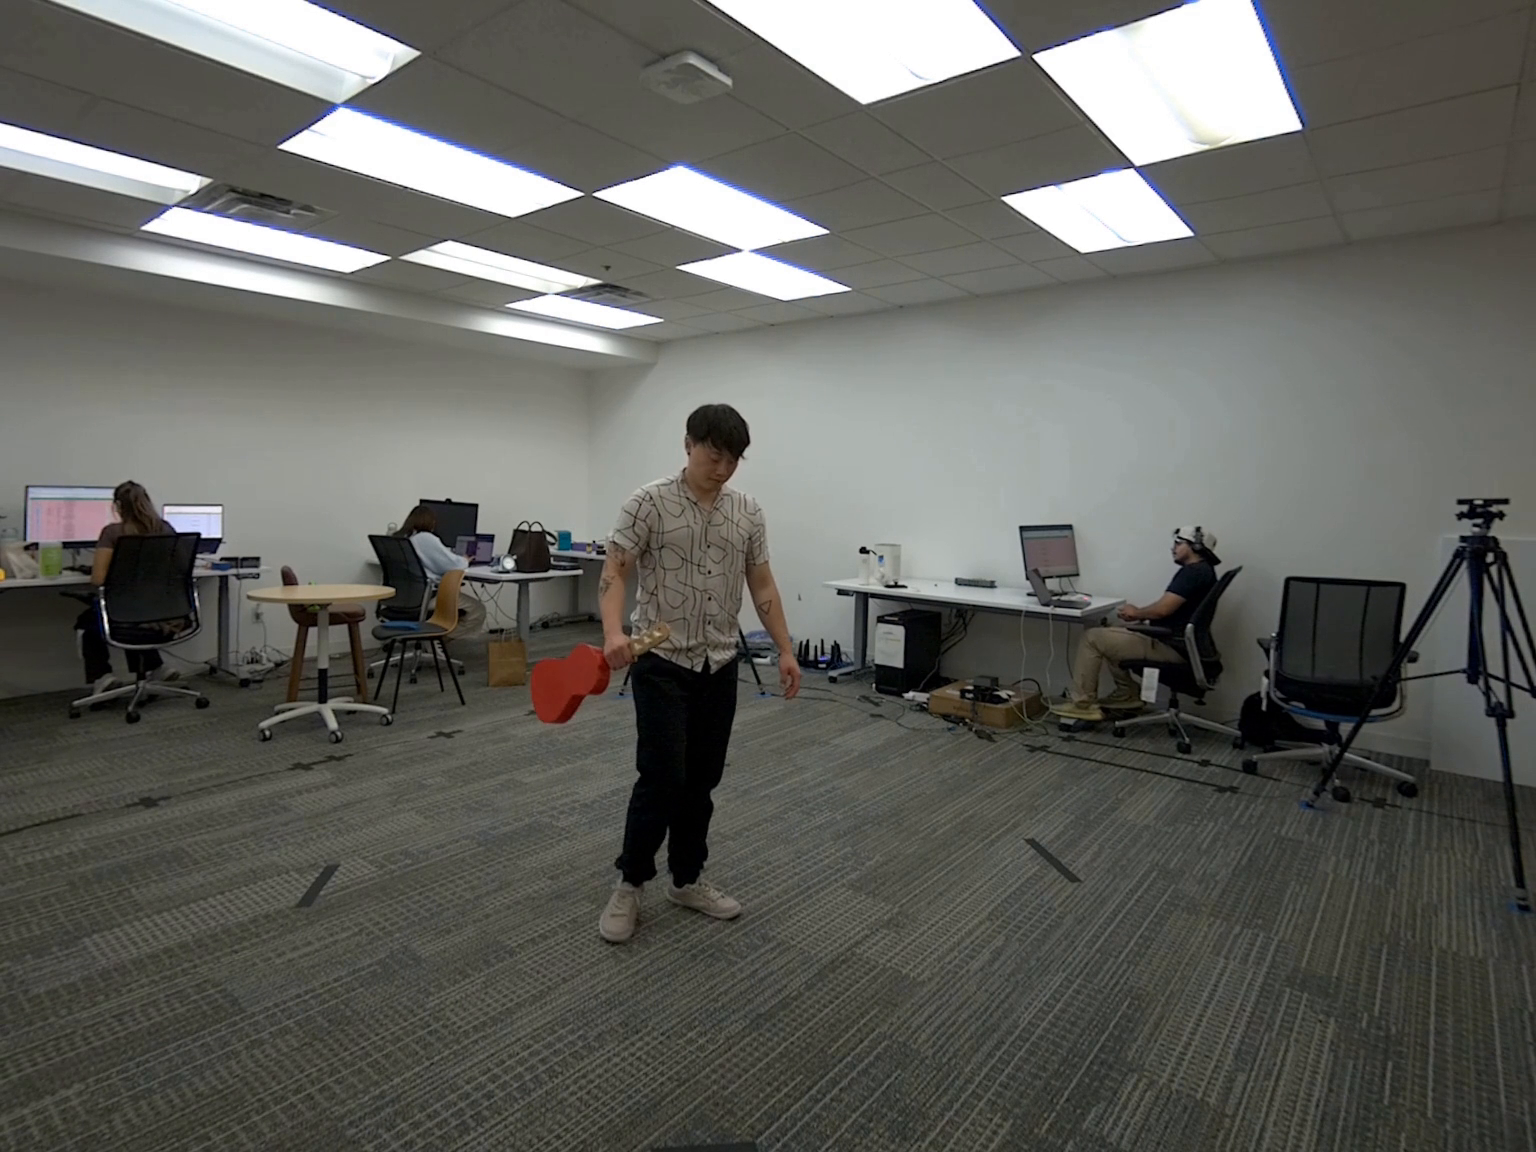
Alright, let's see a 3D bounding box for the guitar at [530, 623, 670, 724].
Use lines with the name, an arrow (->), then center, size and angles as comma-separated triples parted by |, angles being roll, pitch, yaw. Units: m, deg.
guitar -> -0.519, 0.241, 2.488 | 0.500, 0.200, 0.068 | -39, -33, 20
